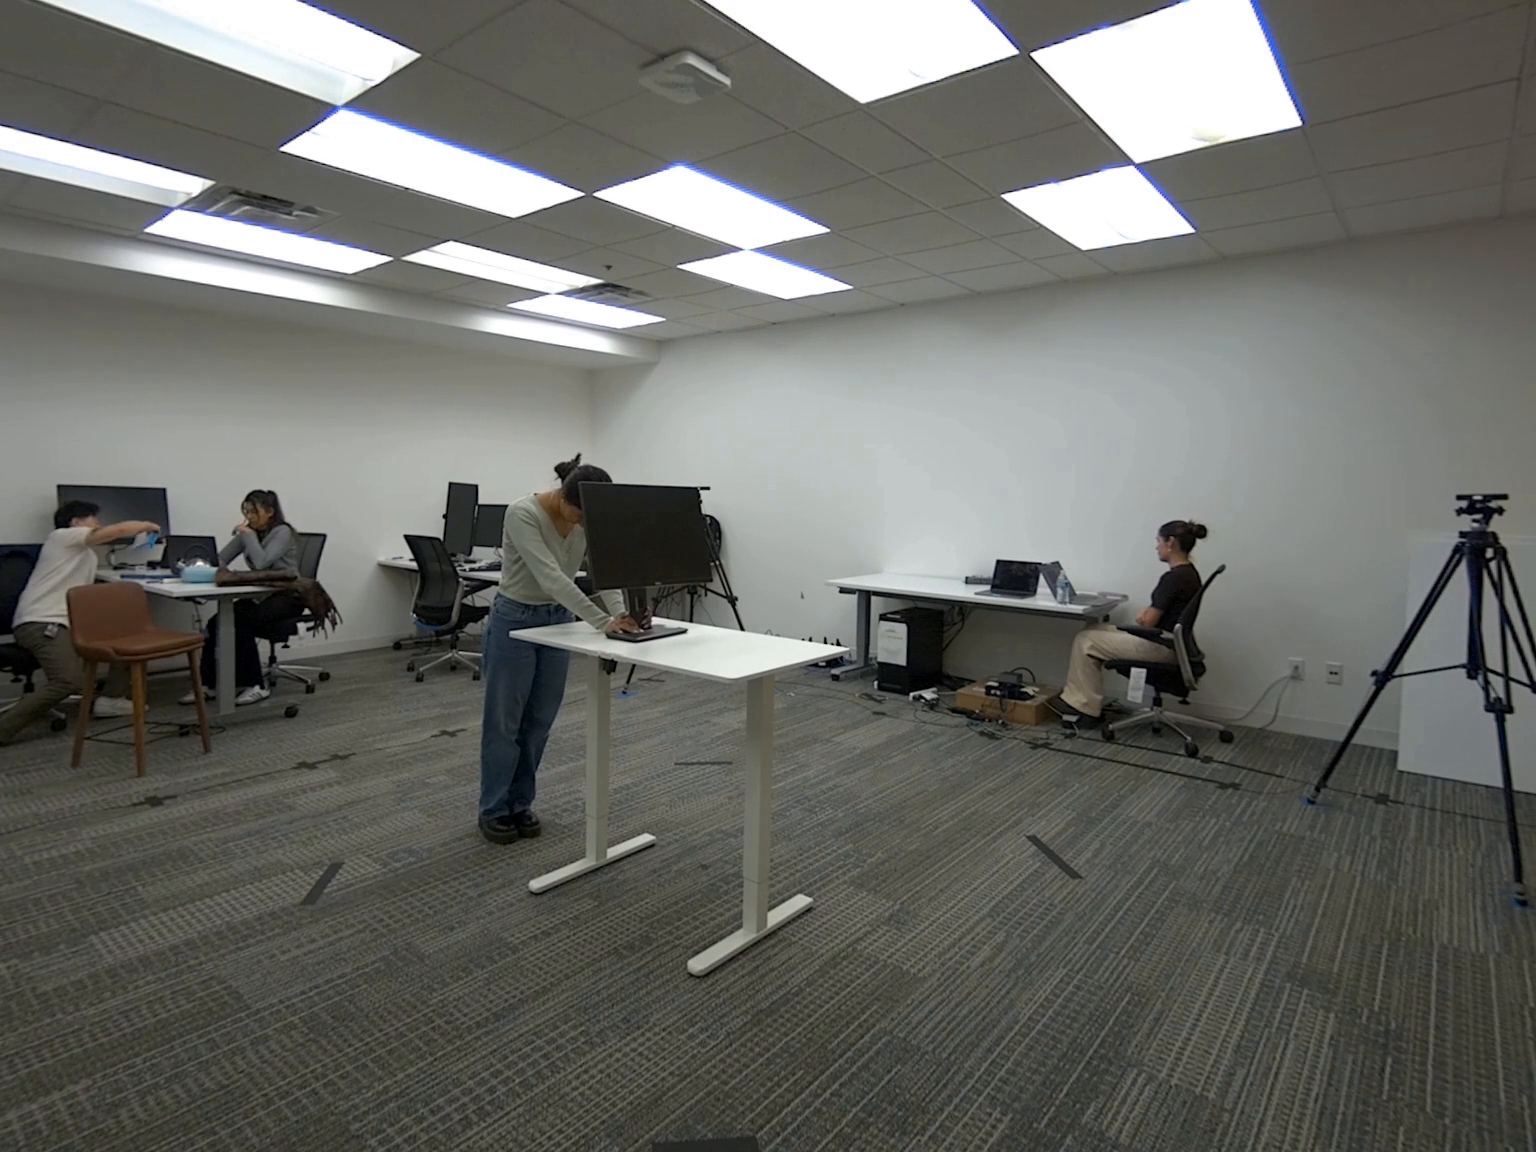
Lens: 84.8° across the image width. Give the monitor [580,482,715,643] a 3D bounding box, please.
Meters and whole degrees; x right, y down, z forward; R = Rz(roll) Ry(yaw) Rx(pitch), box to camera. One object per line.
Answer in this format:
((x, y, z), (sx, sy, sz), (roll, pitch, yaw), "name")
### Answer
((-0.431, -0.054, 2.903), (0.193, 0.521, 0.523), (2, 3, 40), "monitor")
